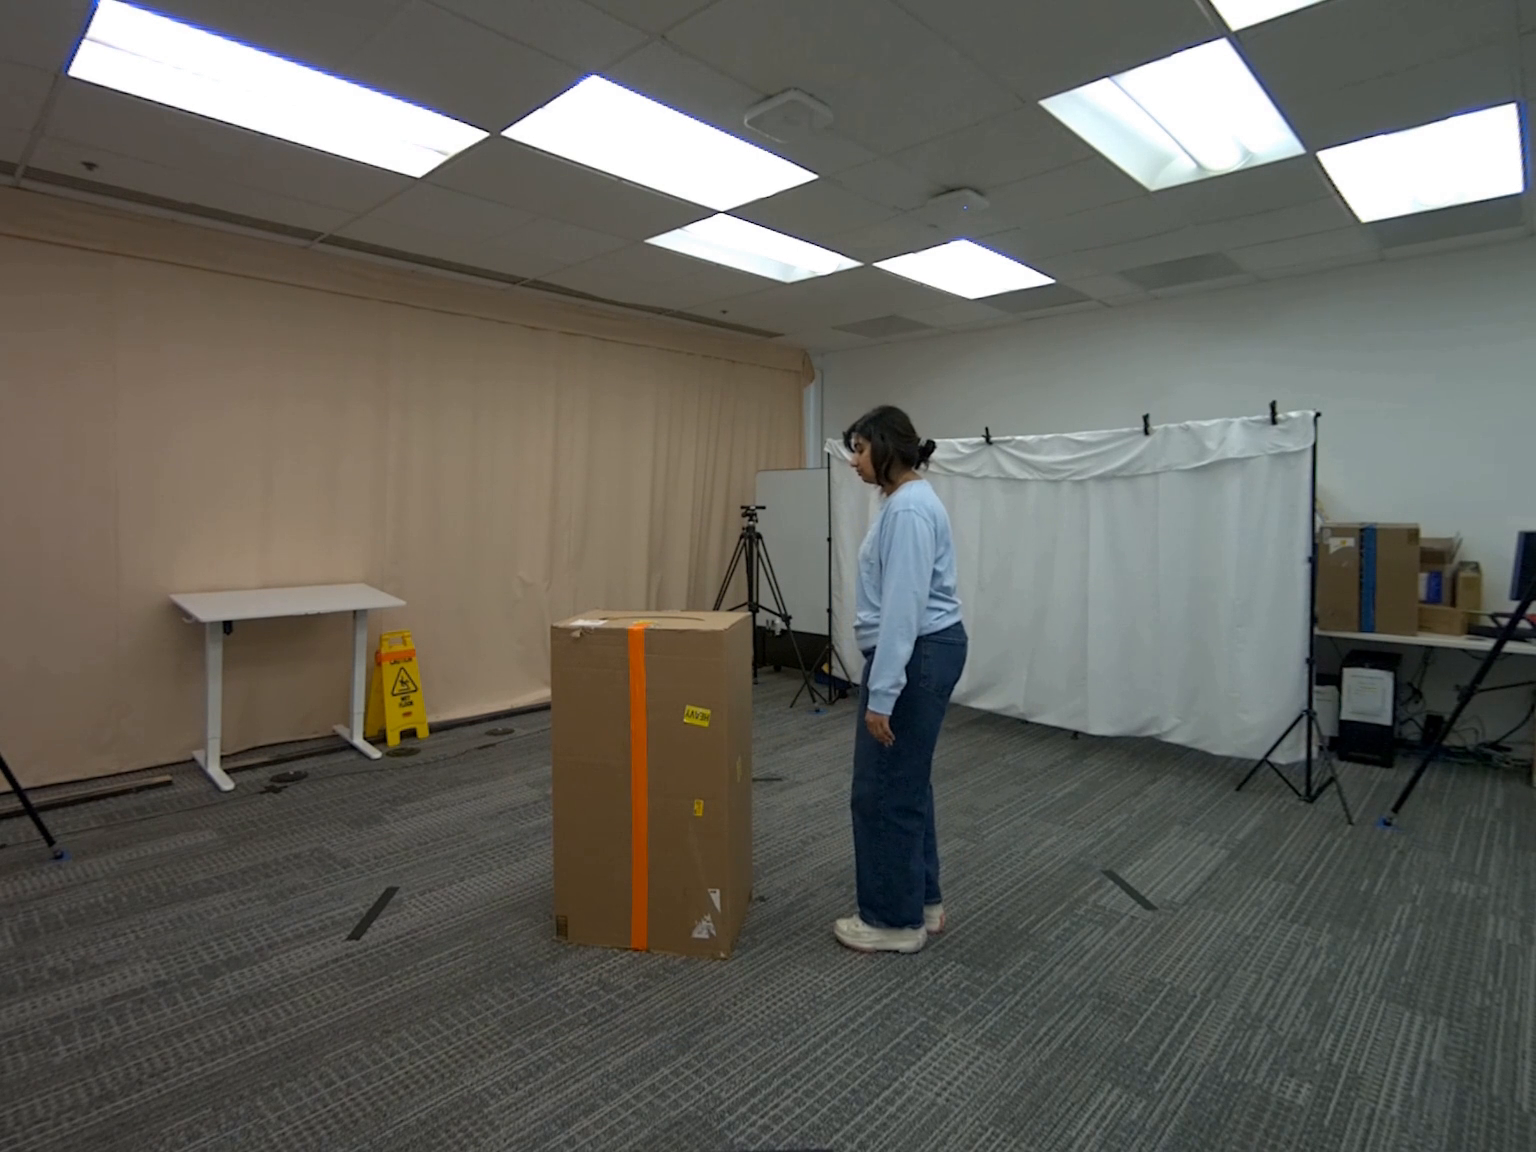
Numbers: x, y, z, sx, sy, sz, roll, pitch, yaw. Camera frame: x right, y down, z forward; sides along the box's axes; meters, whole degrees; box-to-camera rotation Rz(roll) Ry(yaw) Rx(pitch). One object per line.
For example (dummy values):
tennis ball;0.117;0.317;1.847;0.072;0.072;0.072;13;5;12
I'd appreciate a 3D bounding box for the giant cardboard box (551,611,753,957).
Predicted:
giant cardboard box;-0.370;0.652;2.824;0.585;1.024;0.421;0;3;11
